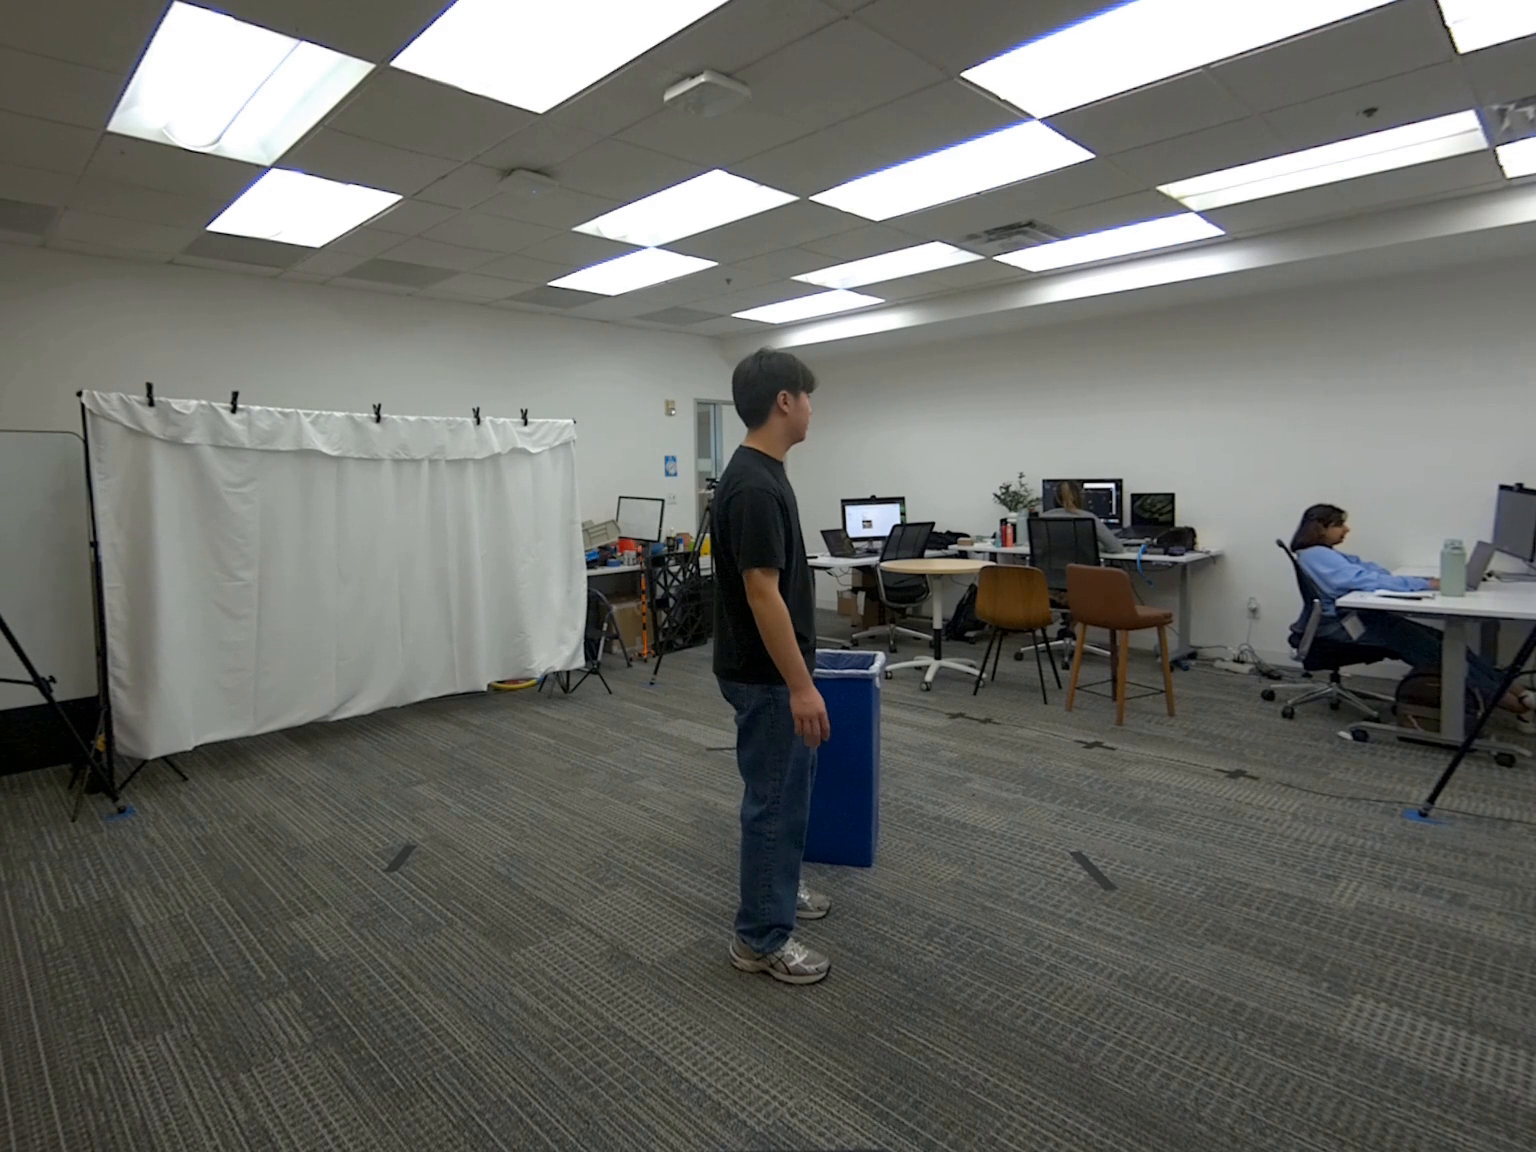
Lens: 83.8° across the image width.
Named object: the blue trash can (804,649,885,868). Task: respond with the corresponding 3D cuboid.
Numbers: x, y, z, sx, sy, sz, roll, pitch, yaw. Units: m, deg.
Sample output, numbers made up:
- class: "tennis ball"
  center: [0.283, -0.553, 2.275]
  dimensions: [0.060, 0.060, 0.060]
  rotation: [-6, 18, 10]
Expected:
- class: "blue trash can"
  center: [0.256, 0.666, 3.214]
  dimensions: [0.379, 0.711, 0.374]
  rotation: [-2, 4, 14]
